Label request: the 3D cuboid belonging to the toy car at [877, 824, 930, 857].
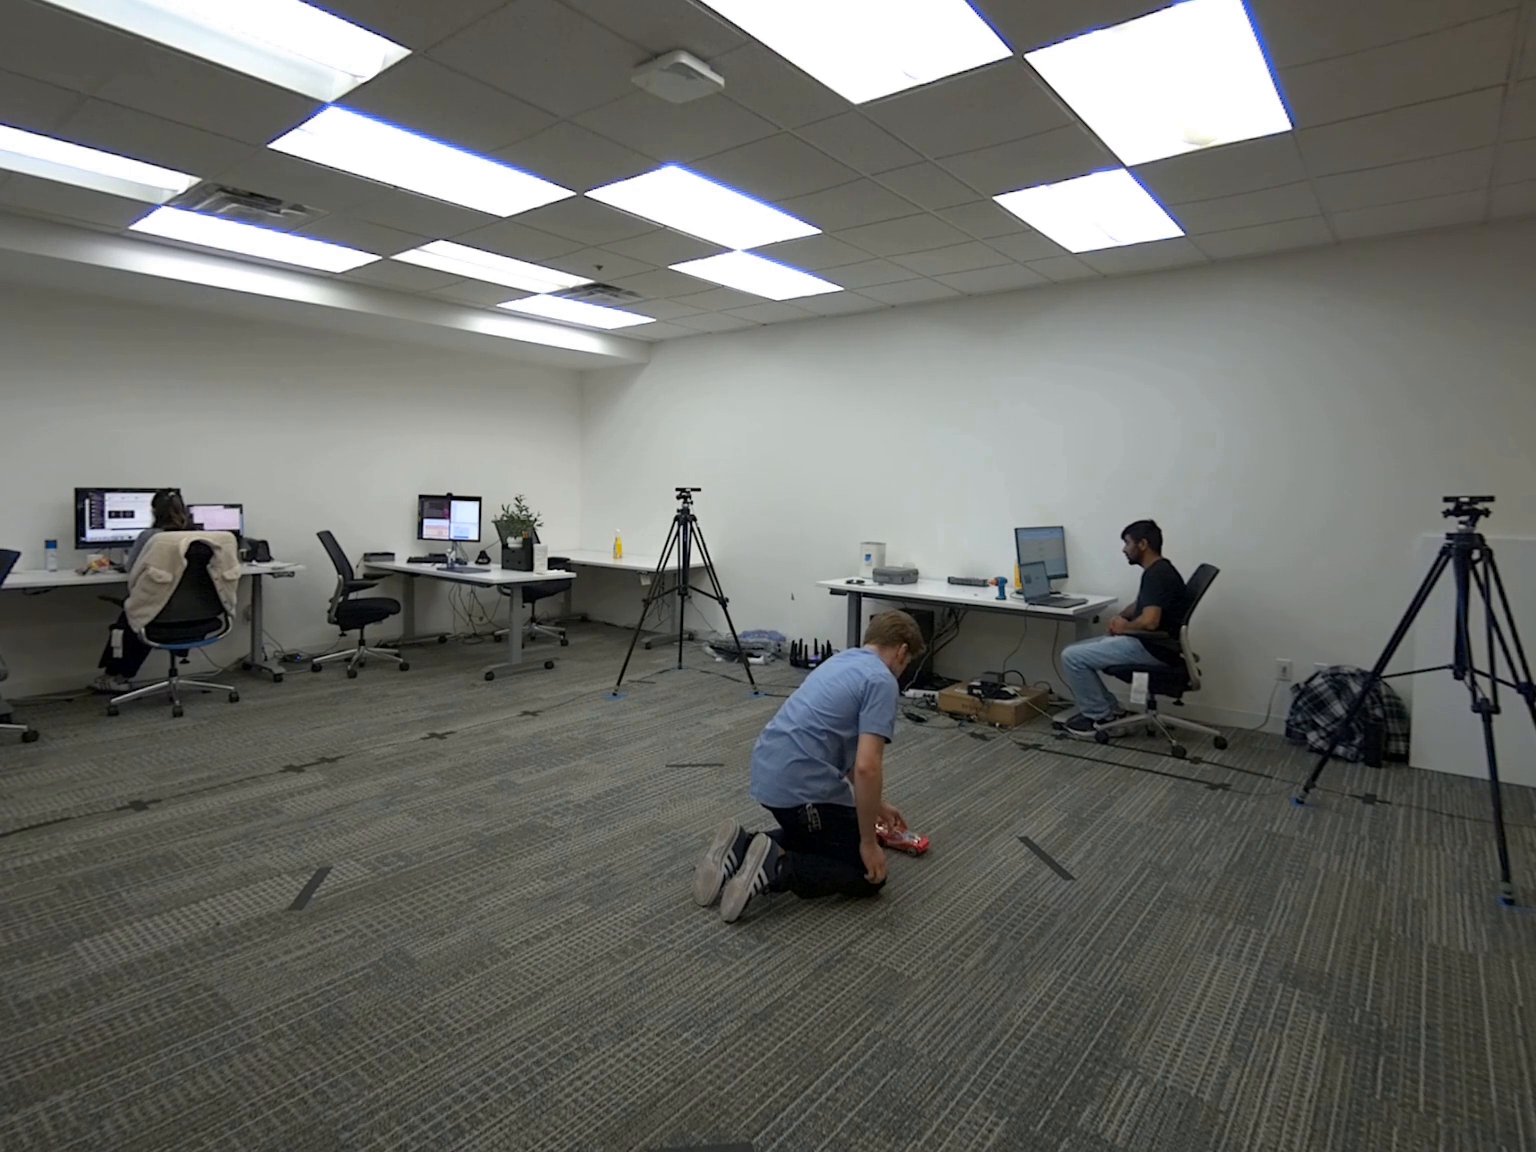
[{"bbox_3d":[0.499,1.028,3.356,0.264,0.082,0.126,18,13,36],"label":"toy car"}]
